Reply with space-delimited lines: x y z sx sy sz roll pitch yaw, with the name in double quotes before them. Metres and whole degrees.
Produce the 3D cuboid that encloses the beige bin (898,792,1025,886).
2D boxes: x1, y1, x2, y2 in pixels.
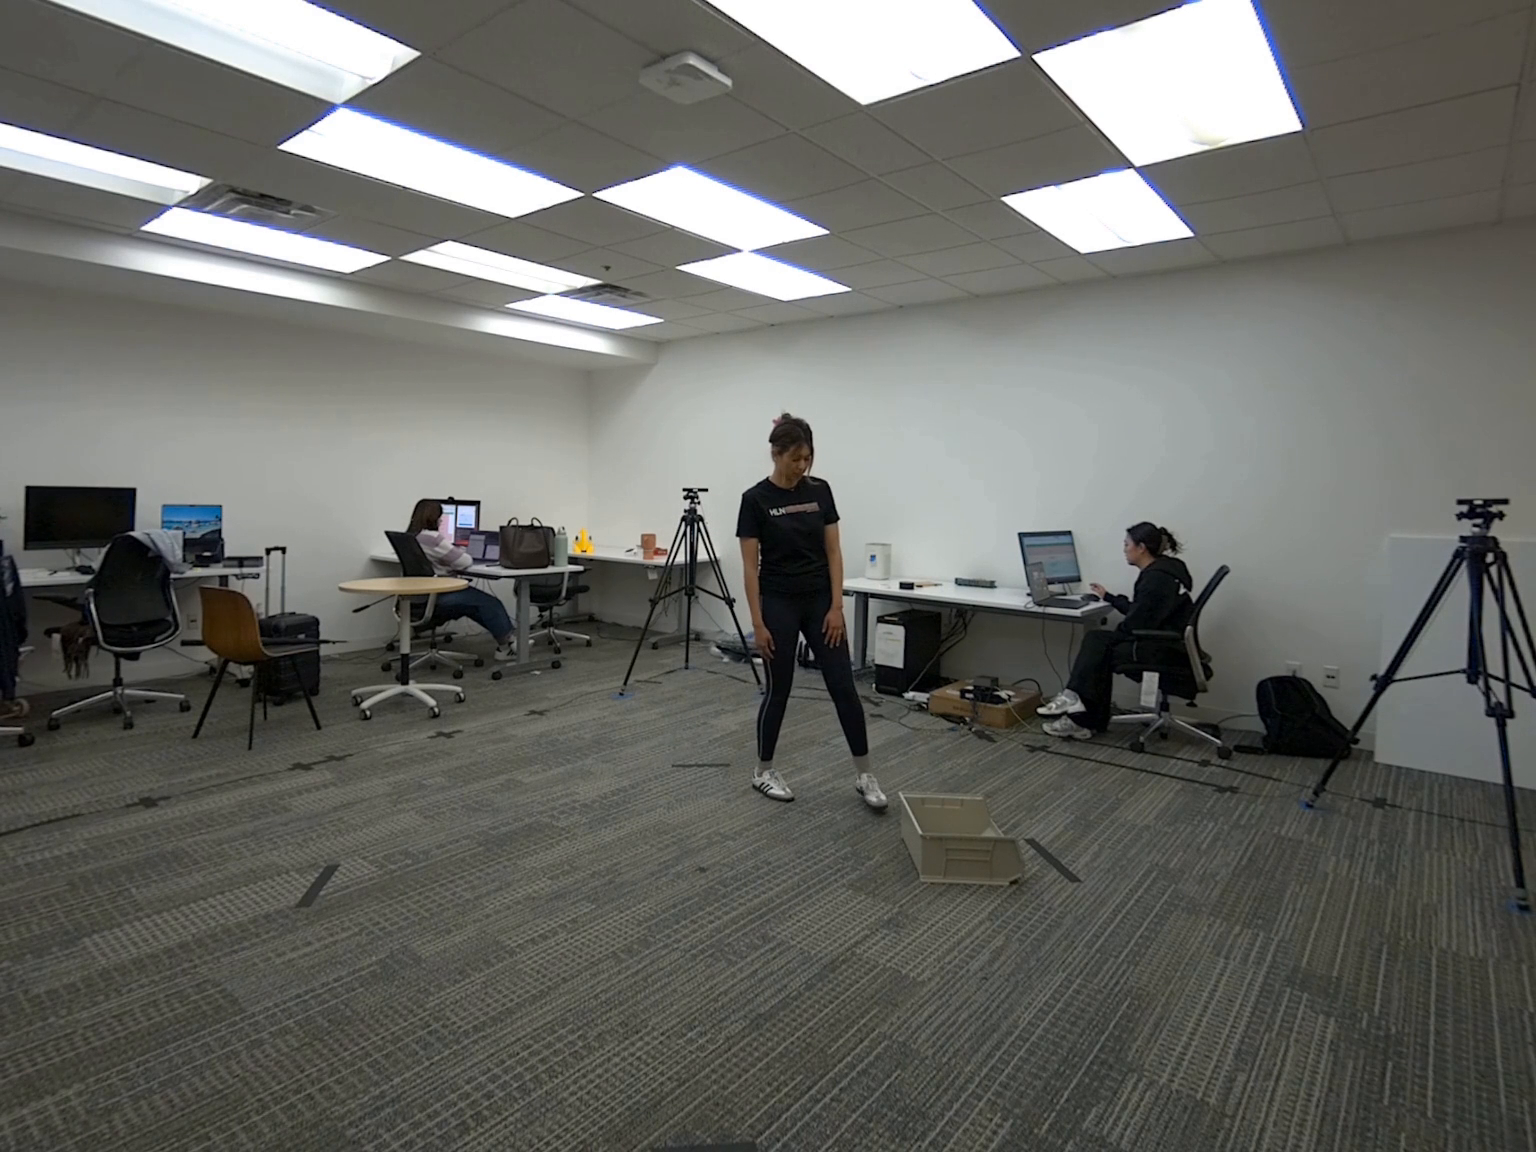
"beige bin" 0.723 0.989 3.245 0.378 0.188 0.424 0 6 -1
